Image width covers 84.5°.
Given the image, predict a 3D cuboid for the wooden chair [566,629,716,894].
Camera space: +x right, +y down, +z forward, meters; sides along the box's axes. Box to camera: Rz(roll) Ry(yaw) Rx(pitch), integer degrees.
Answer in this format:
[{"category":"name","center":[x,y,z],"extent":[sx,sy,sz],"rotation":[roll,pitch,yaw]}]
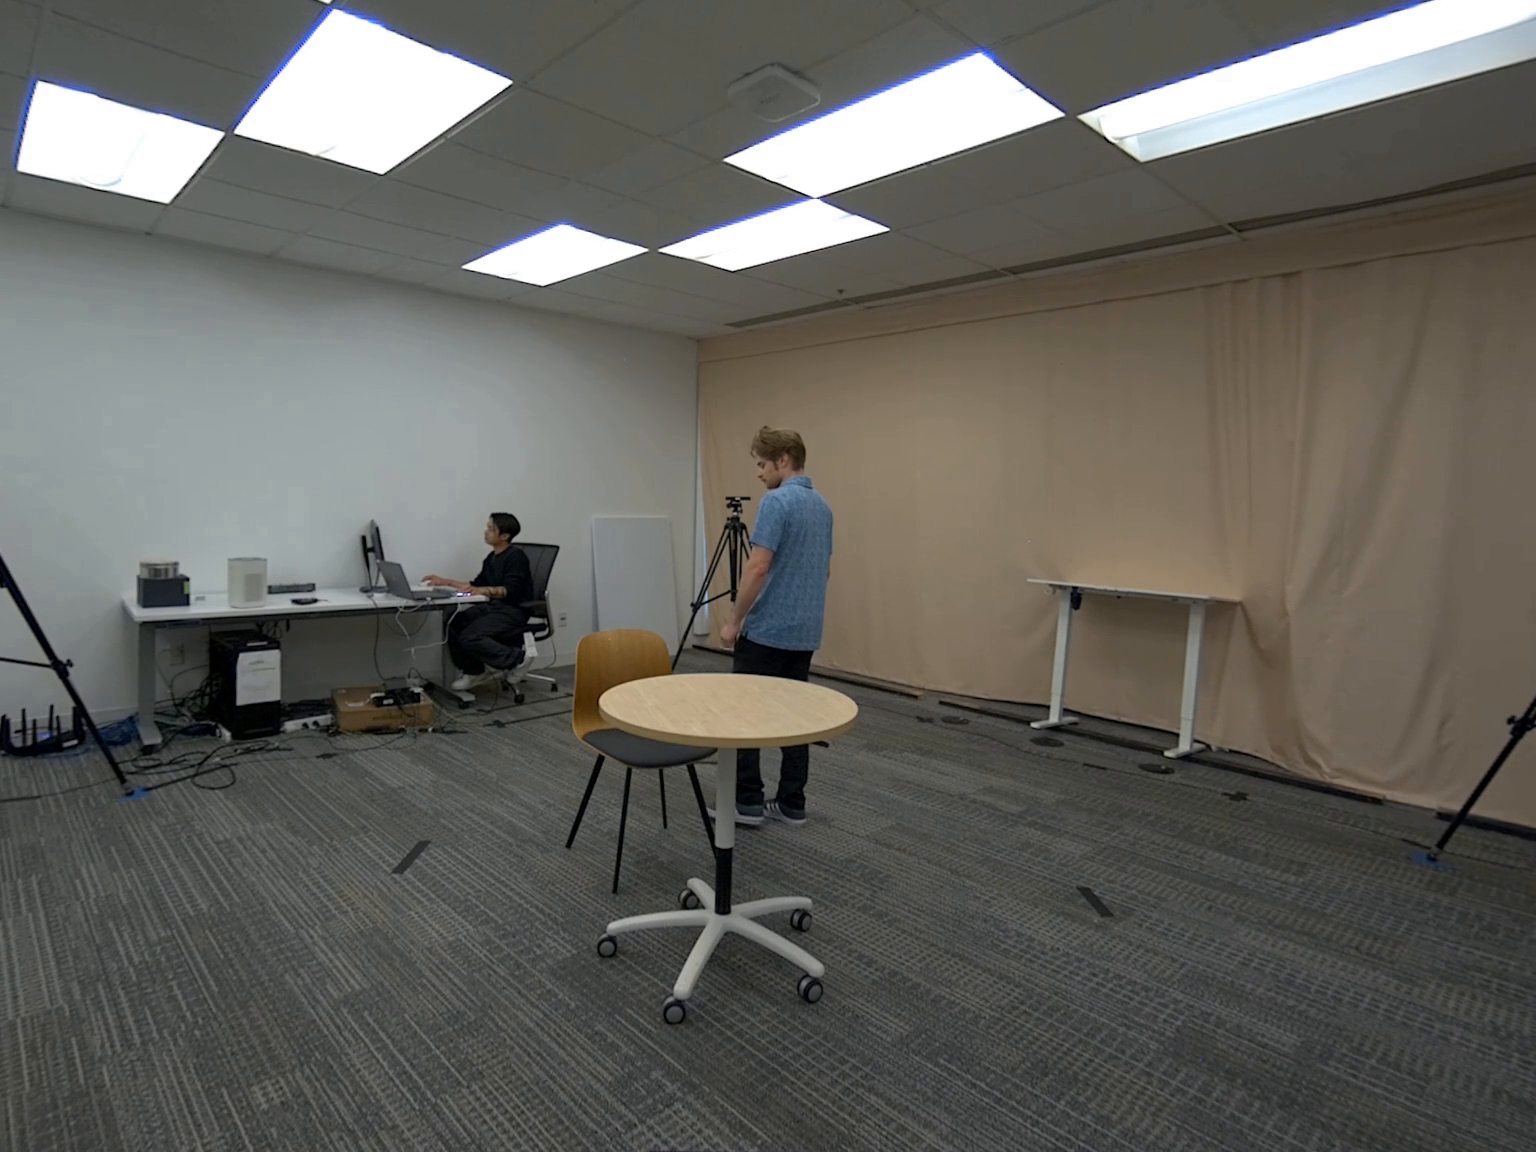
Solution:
[{"category":"wooden chair","center":[-0.473,0.662,3.214],"extent":[0.467,0.878,0.534],"rotation":[0,-1,-34]}]
